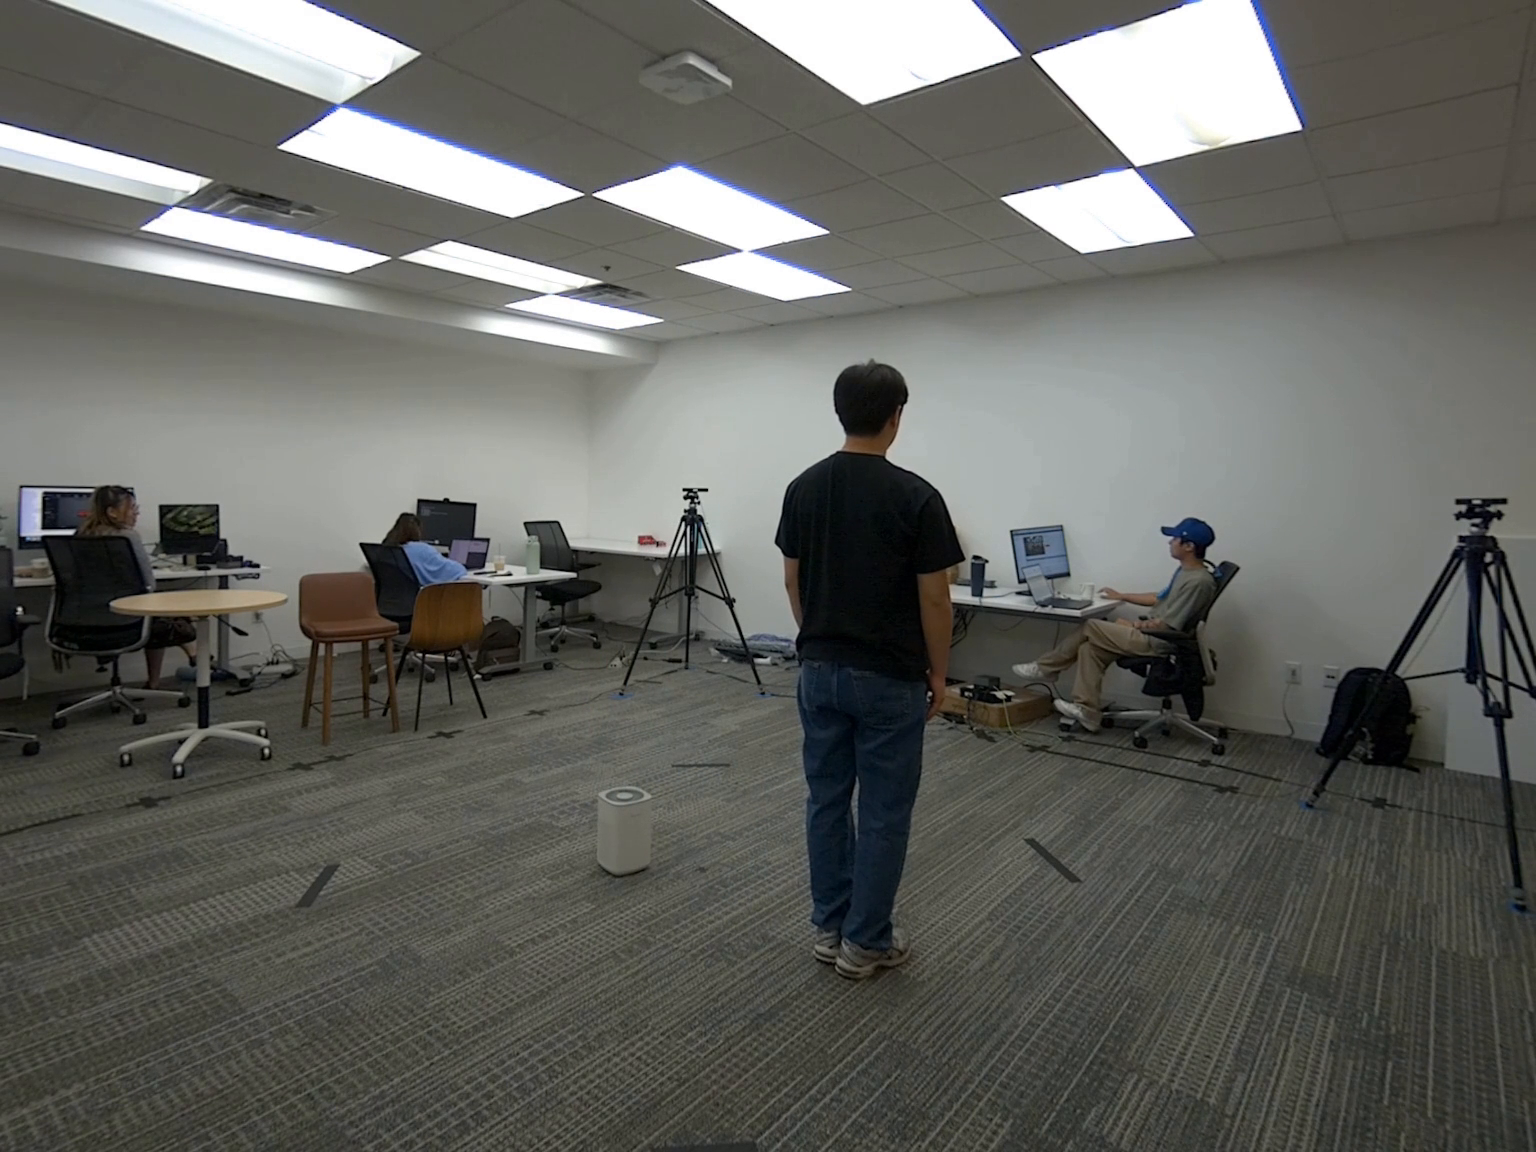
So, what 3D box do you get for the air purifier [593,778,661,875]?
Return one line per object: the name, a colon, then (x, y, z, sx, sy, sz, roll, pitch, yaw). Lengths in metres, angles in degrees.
air purifier: (-0.524, 0.920, 3.113, 0.166, 0.265, 0.177, -1, 4, -42)
